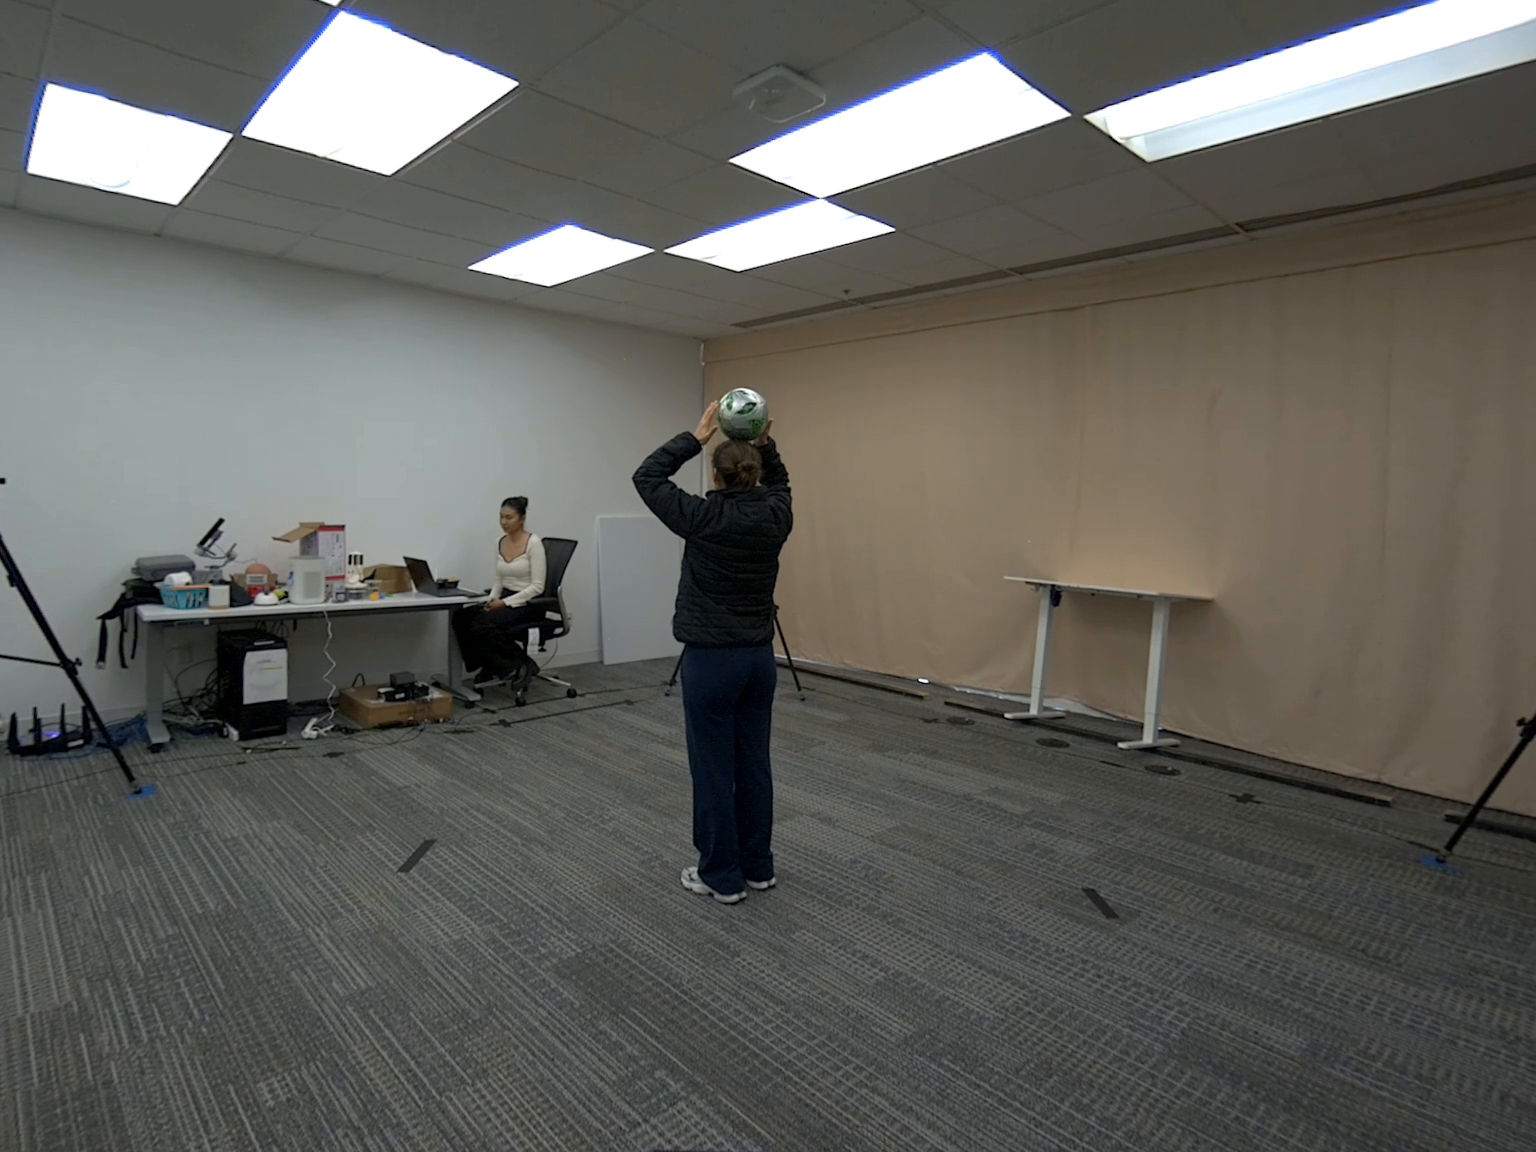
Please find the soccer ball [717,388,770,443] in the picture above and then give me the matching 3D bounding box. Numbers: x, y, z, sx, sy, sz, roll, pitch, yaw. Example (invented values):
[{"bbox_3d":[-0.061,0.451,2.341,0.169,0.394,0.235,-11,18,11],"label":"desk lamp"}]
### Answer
[{"bbox_3d":[-0.098,-0.567,2.969,0.187,0.187,0.188,1,4,-1],"label":"soccer ball"}]
